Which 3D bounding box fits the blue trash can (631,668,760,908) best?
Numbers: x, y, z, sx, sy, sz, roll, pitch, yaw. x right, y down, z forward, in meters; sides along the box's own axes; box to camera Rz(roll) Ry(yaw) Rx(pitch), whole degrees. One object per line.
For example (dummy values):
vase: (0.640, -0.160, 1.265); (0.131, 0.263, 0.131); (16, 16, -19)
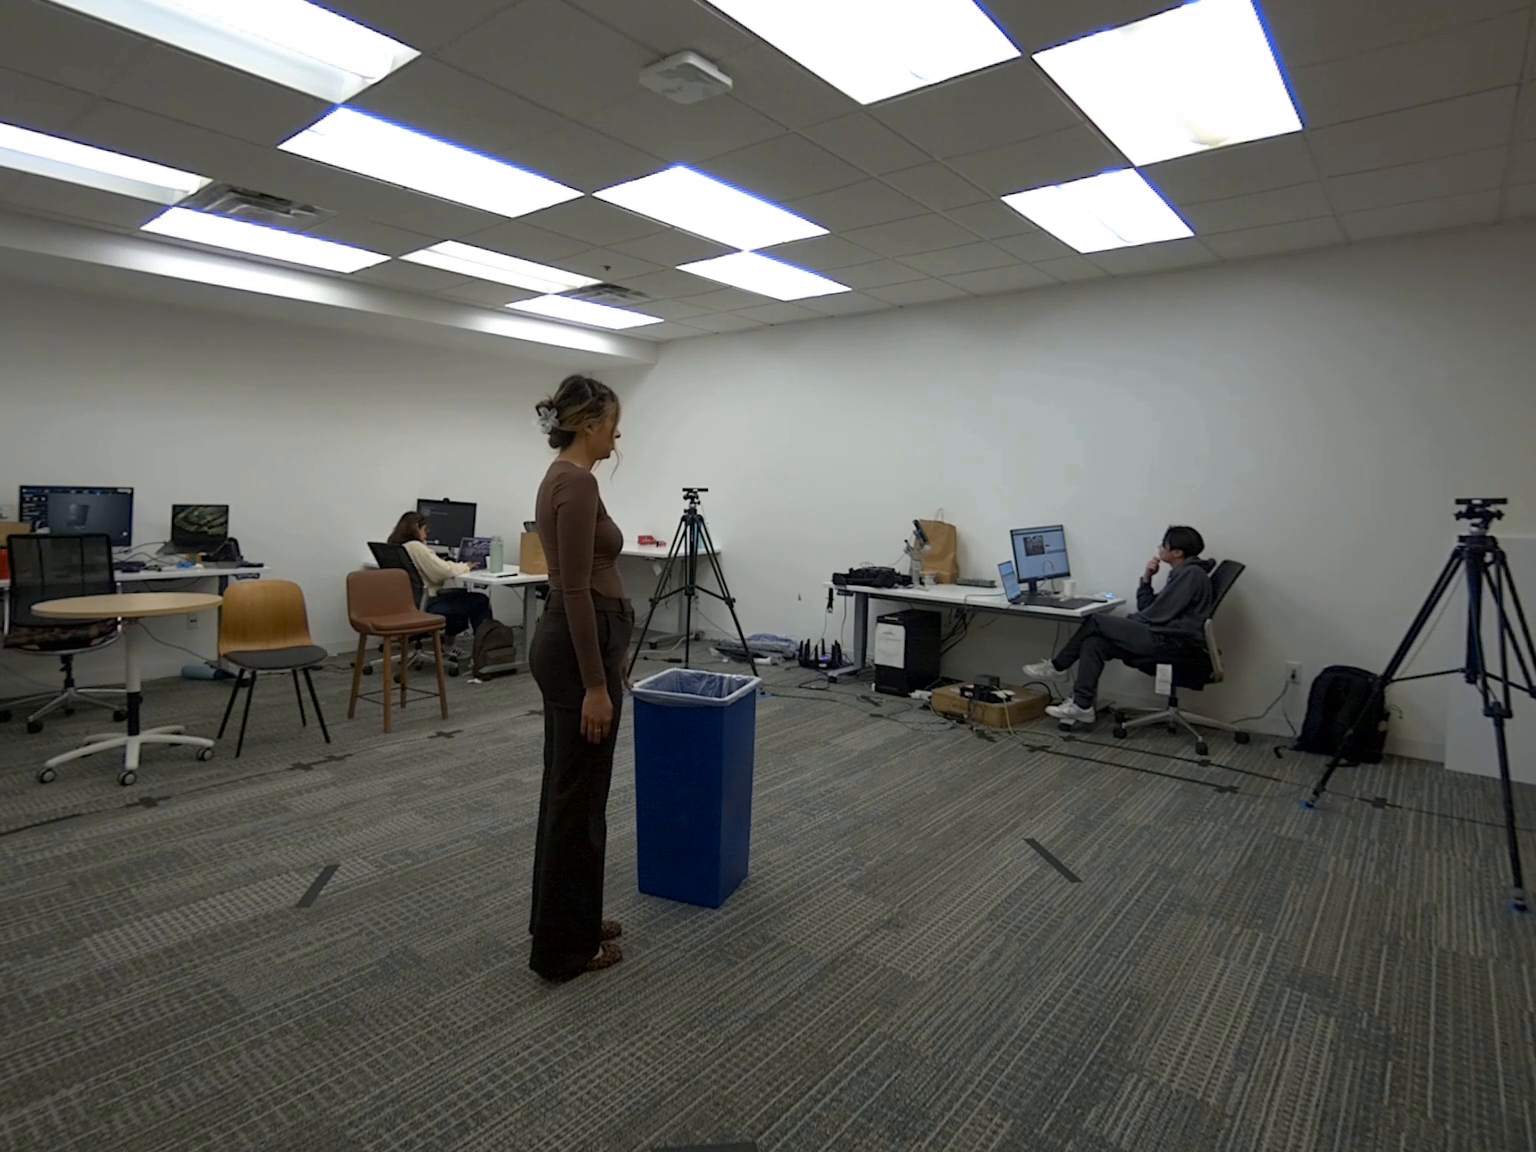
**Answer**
blue trash can: (-0.262, 0.722, 2.978); (0.387, 0.712, 0.366); (2, 3, 21)
